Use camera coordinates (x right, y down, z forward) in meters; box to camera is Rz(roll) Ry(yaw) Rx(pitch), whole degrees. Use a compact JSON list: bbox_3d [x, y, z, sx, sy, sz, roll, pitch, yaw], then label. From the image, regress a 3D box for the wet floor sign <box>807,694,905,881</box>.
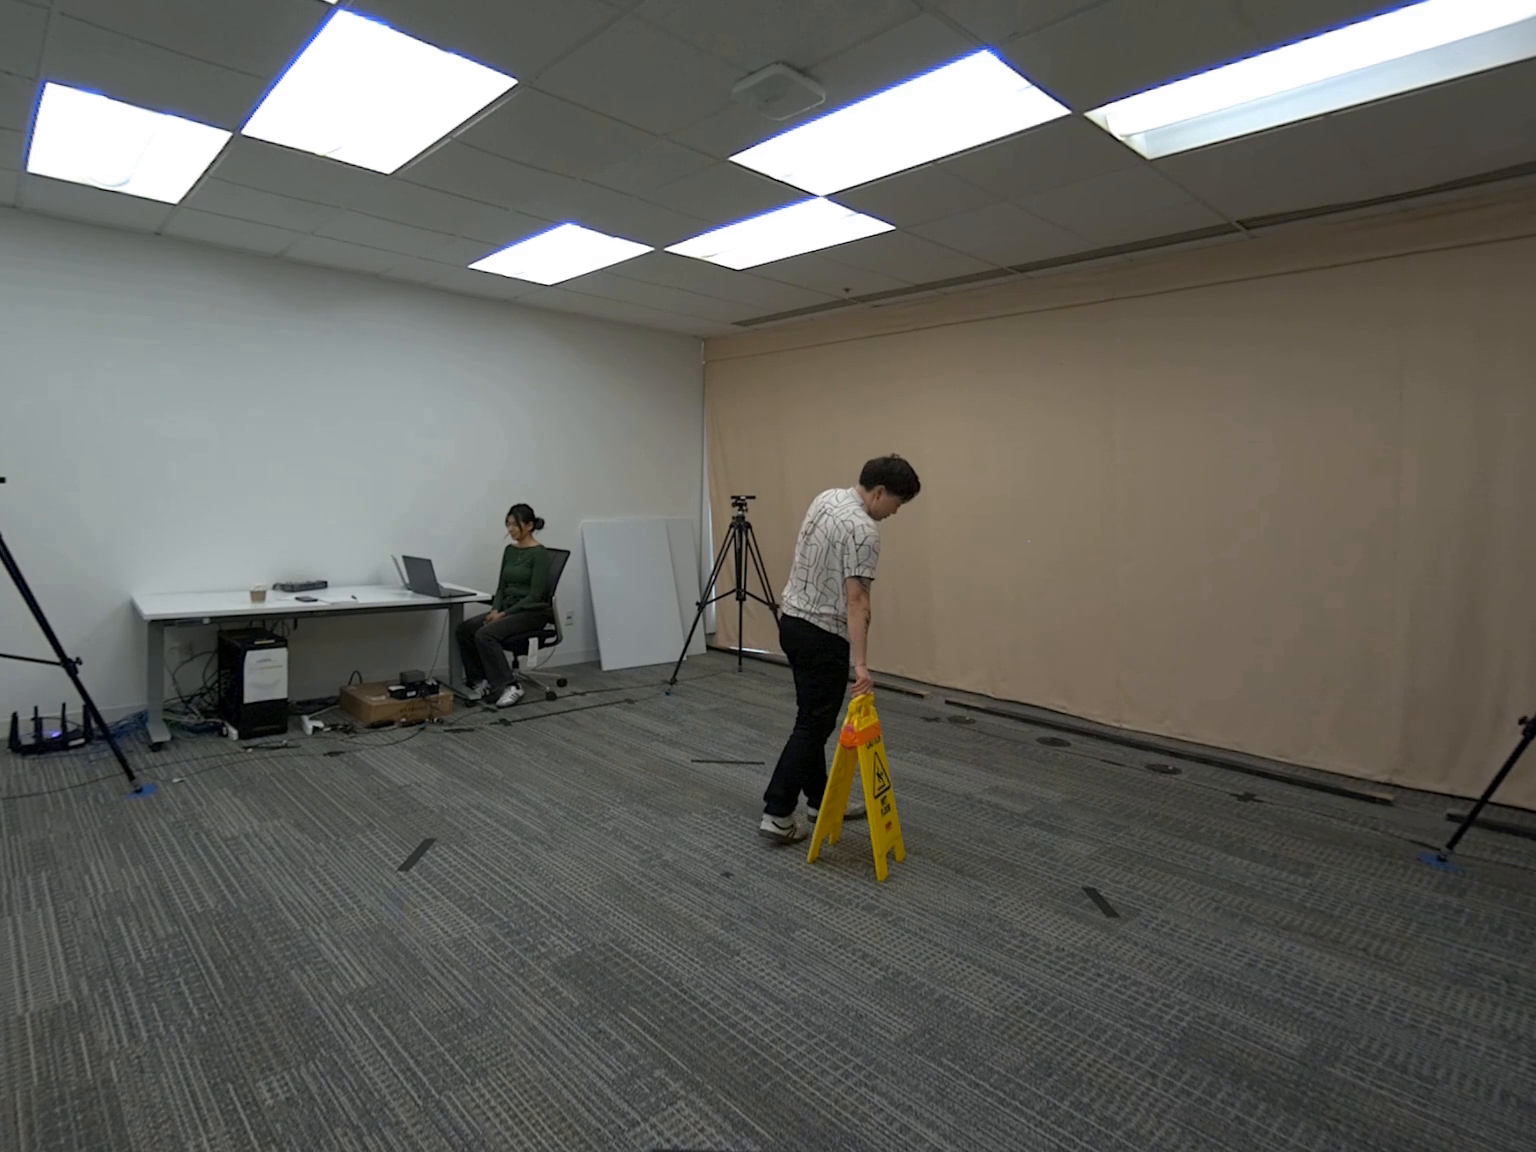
[{"bbox_3d":[0.343,0.774,3.245,0.295,0.645,0.277,2,2,27],"label":"wet floor sign"}]
